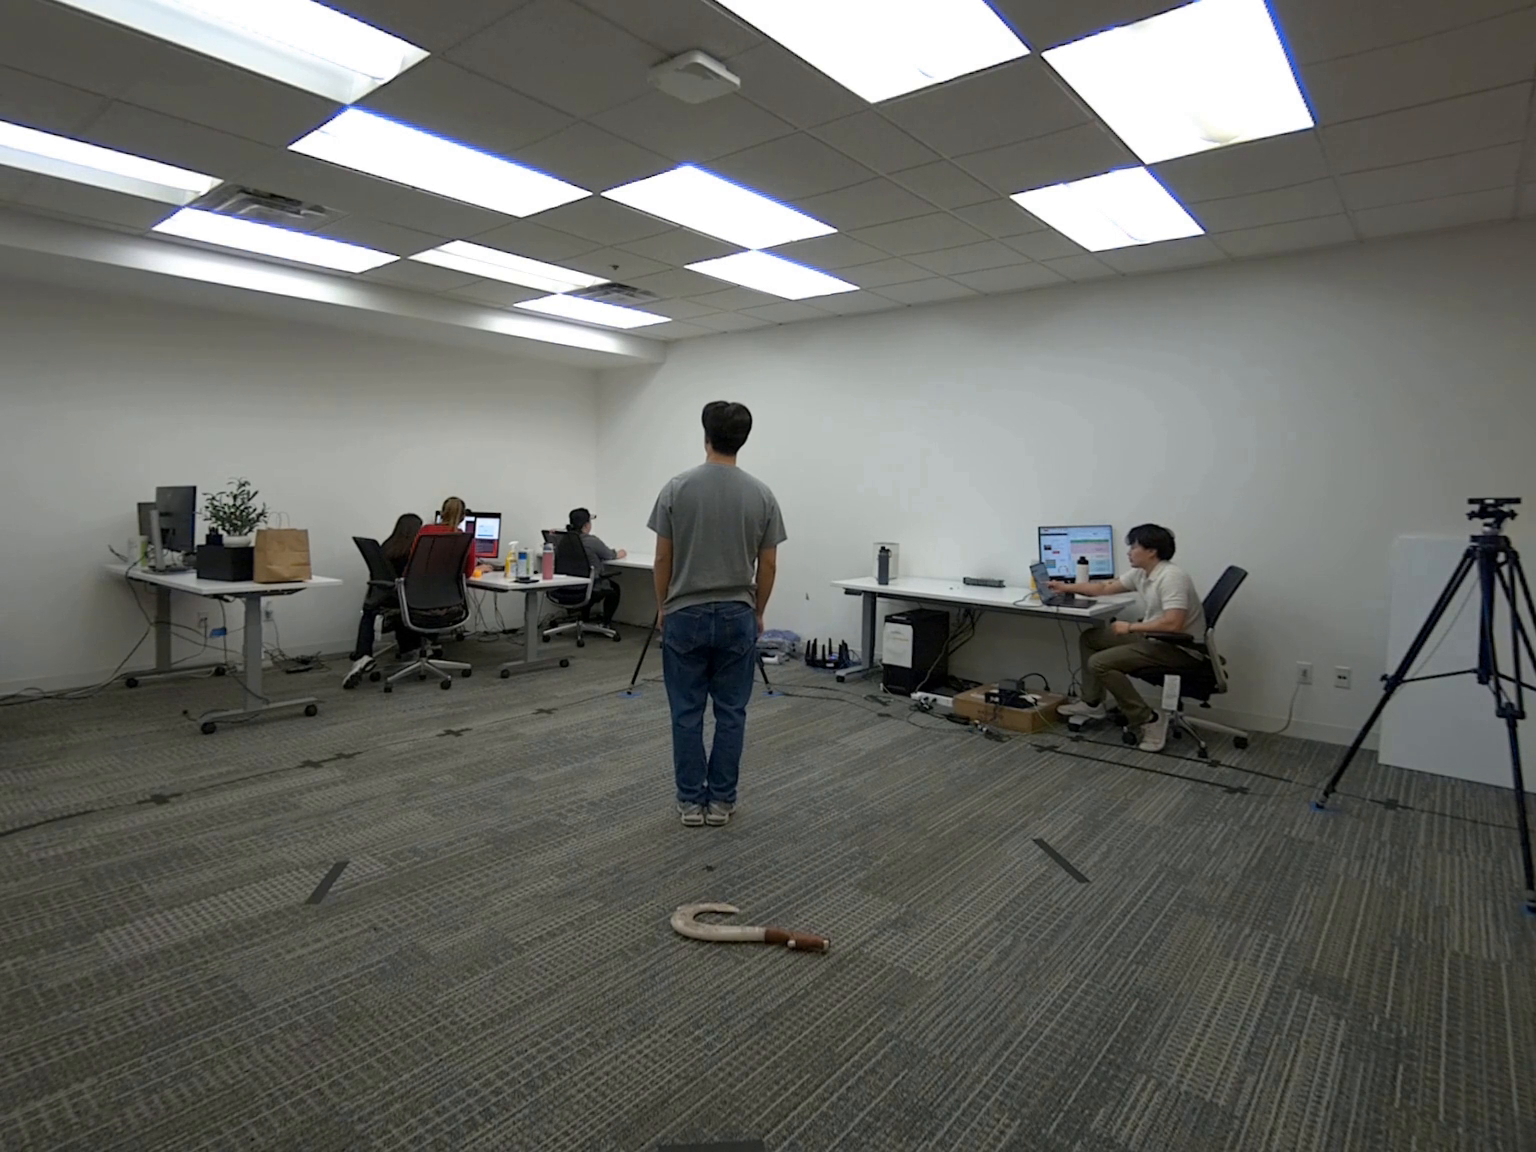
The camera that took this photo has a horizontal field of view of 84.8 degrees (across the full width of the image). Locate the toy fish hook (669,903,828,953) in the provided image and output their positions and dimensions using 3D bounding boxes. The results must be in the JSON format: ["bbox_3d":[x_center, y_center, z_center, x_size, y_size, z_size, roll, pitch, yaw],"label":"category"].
[{"bbox_3d":[-0.060,1.090,2.665,0.514,0.048,0.222,3,6,12],"label":"toy fish hook"}]
